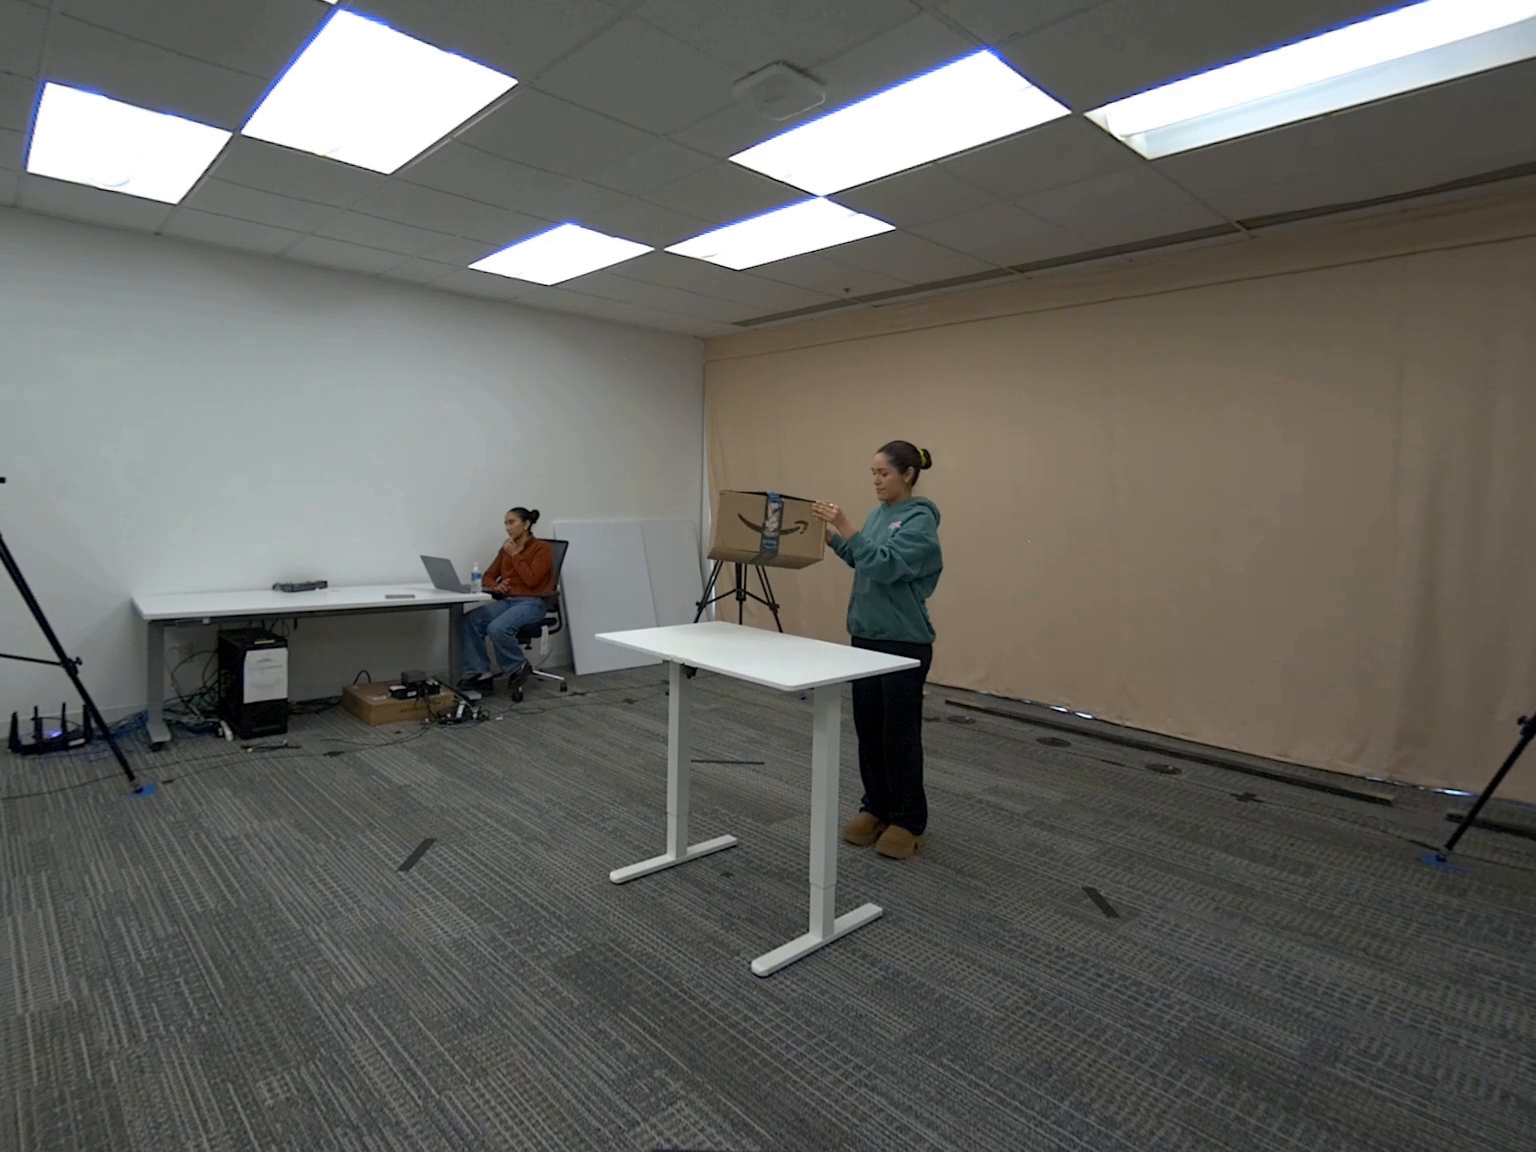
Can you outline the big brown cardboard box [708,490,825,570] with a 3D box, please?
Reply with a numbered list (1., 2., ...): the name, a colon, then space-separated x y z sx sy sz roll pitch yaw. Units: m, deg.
1. big brown cardboard box: -0.008 -0.177 3.406 0.416 0.234 0.589 6 -4 -6
